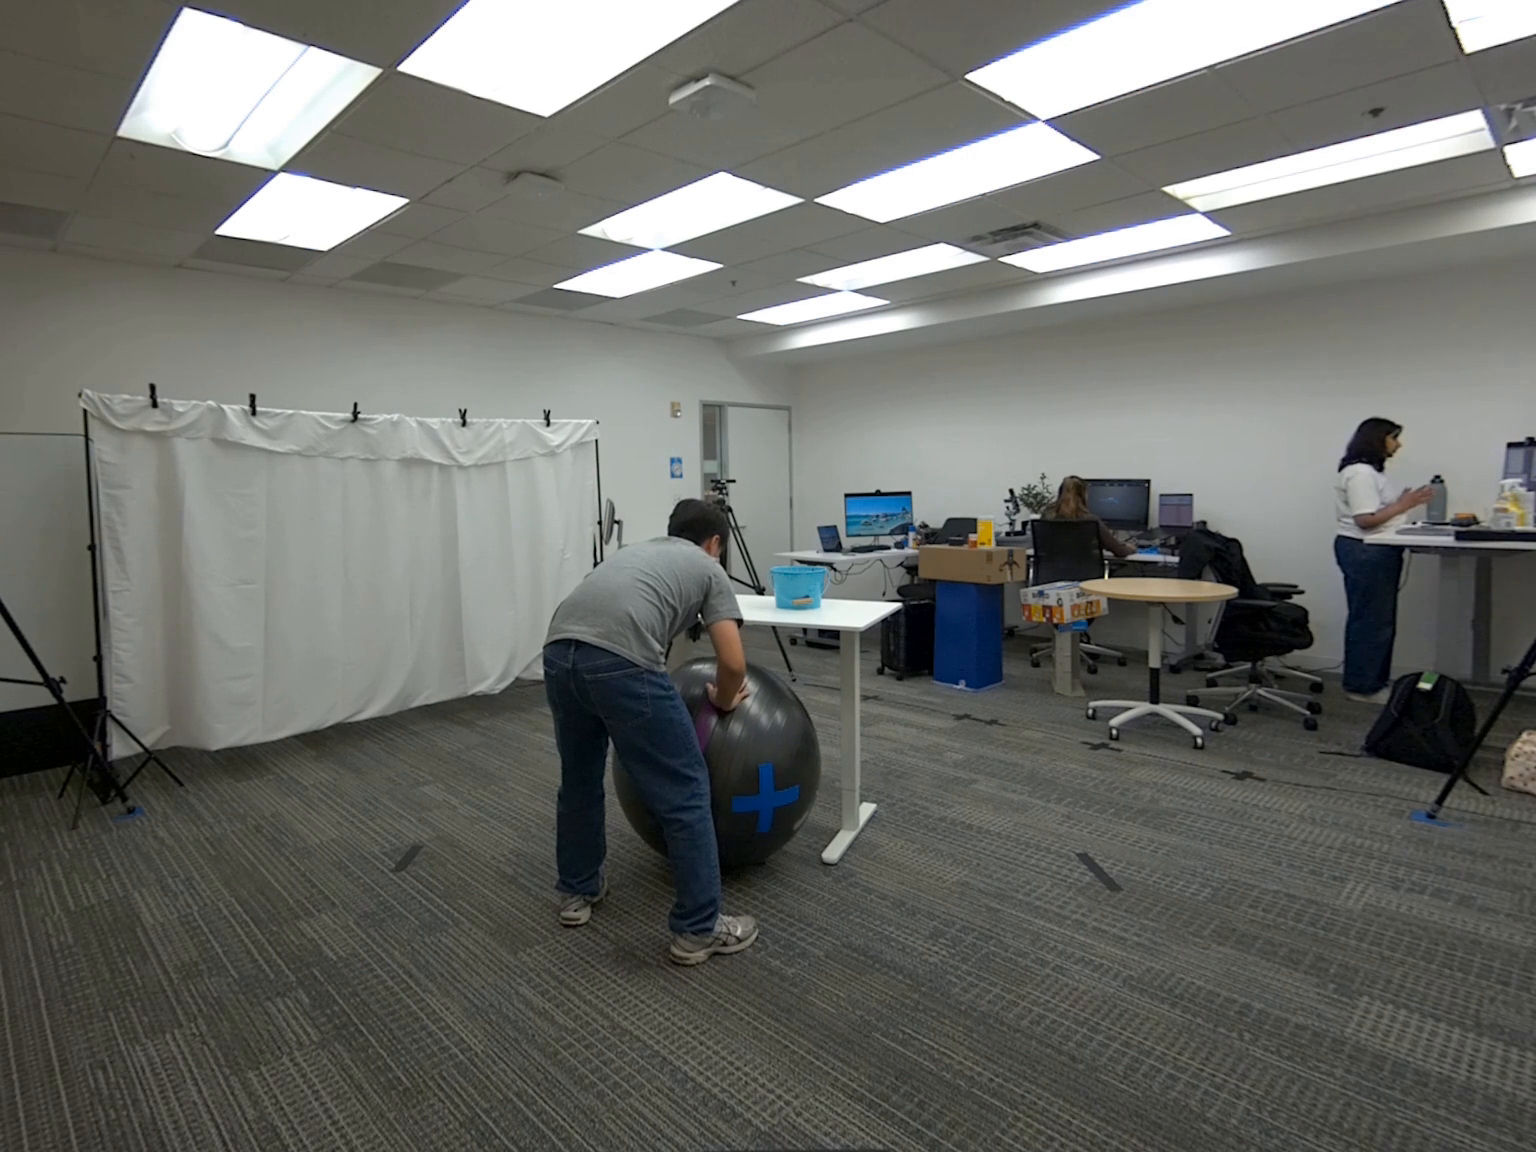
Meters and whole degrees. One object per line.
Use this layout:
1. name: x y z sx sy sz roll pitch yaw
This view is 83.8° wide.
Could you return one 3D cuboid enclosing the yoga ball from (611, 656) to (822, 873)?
1. yoga ball: -0.187 0.680 3.138 0.757 0.755 0.762 -1 5 -2
